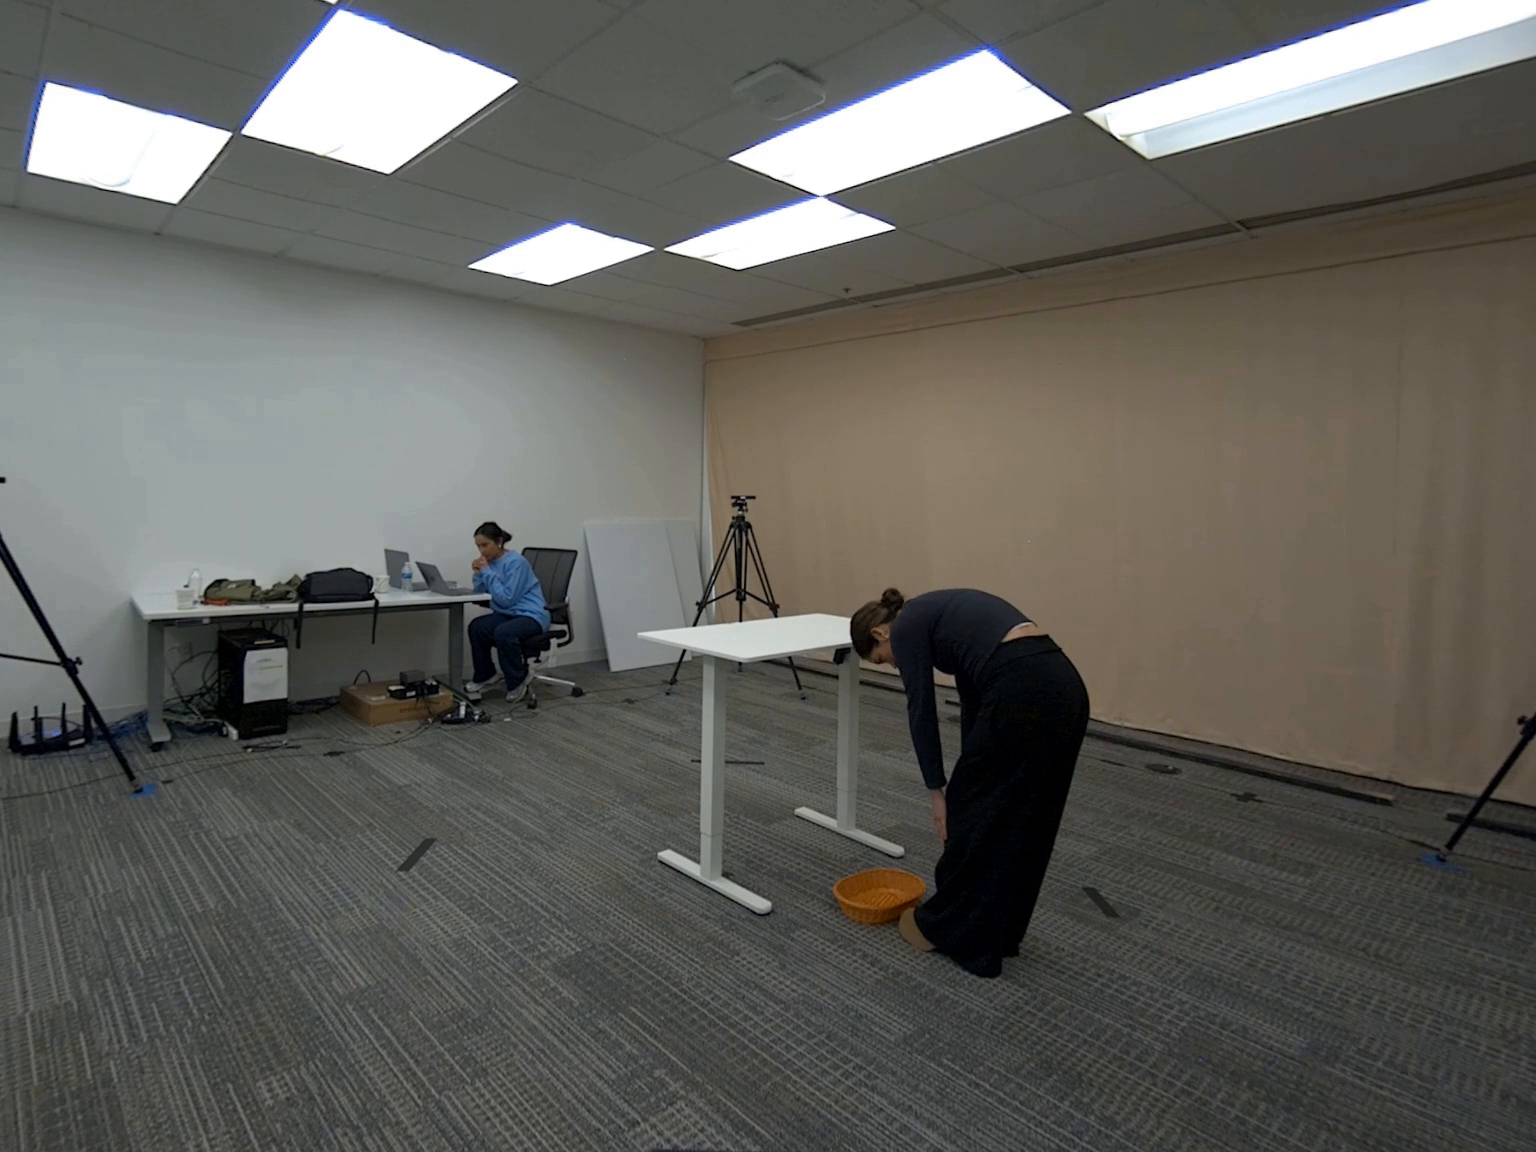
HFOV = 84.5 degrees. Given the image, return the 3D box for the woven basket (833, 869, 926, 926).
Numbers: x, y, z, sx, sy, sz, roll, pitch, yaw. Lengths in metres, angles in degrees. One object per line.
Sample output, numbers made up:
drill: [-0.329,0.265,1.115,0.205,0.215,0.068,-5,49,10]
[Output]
woven basket: [0.375,1.089,2.881,0.342,0.073,0.259,-3,6,-38]
